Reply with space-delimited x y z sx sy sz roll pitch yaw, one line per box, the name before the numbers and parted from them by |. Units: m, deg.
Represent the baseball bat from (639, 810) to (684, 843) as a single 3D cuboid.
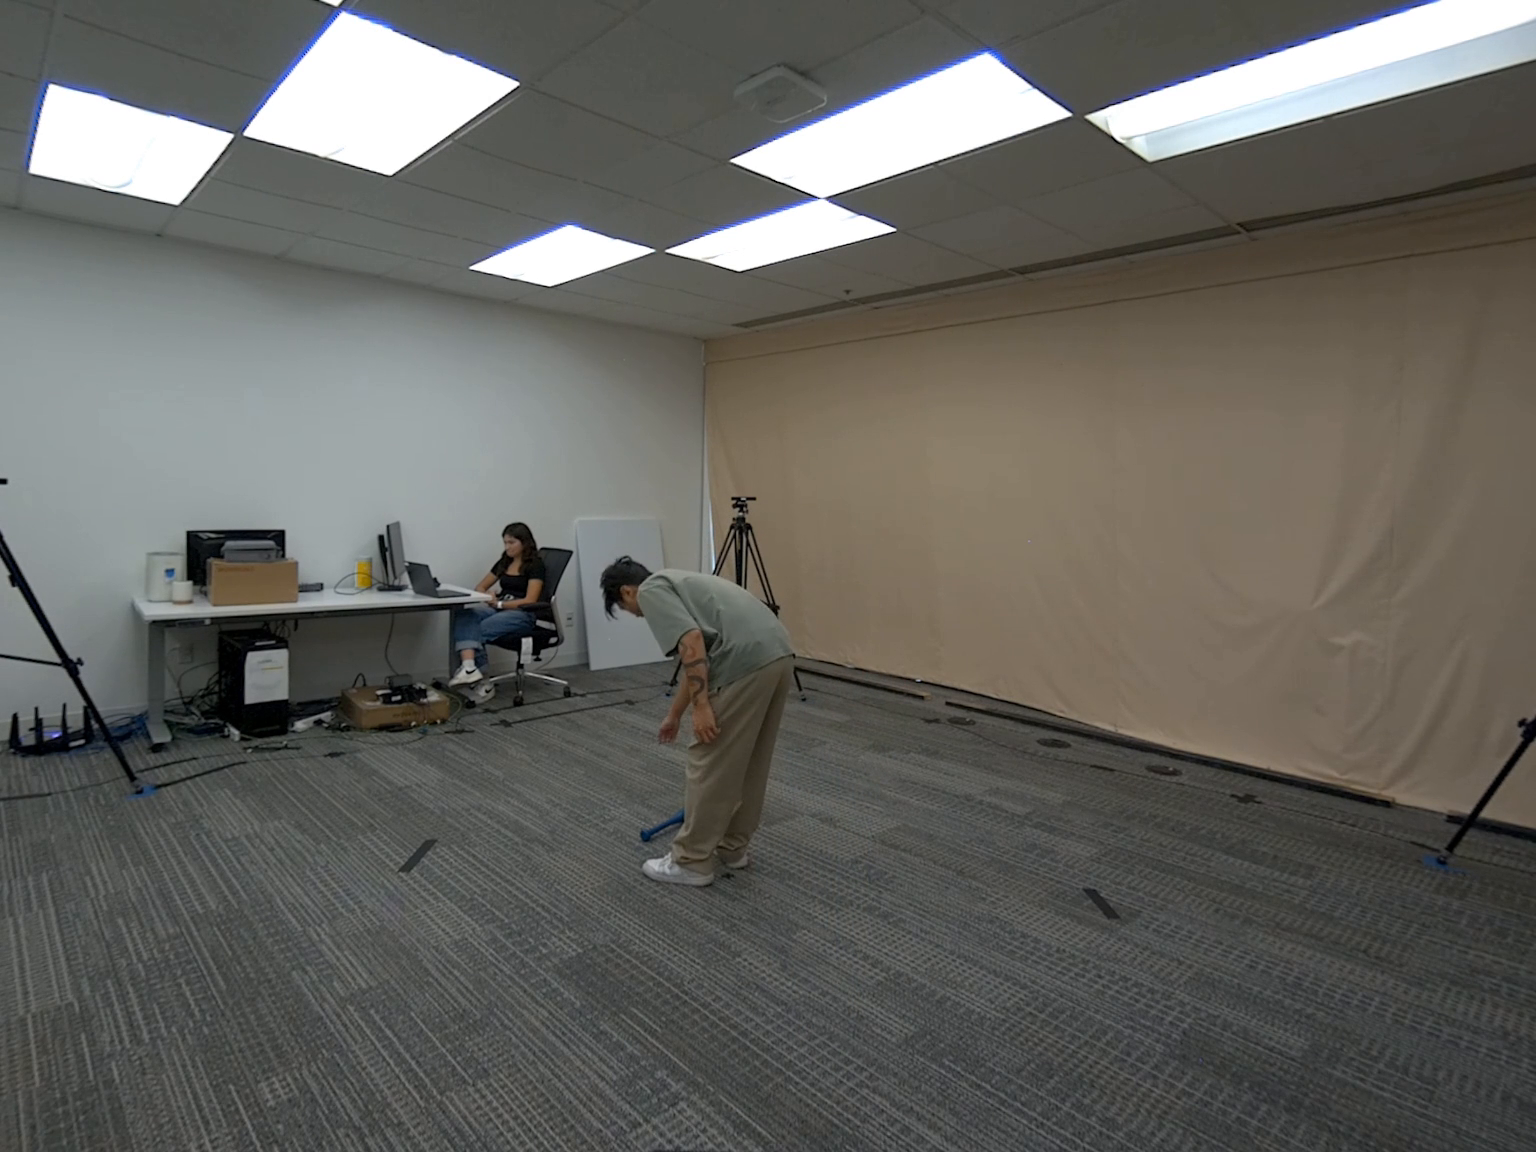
baseball bat | -0.356 1.025 3.609 0.091 0.089 0.532 4 8 35
